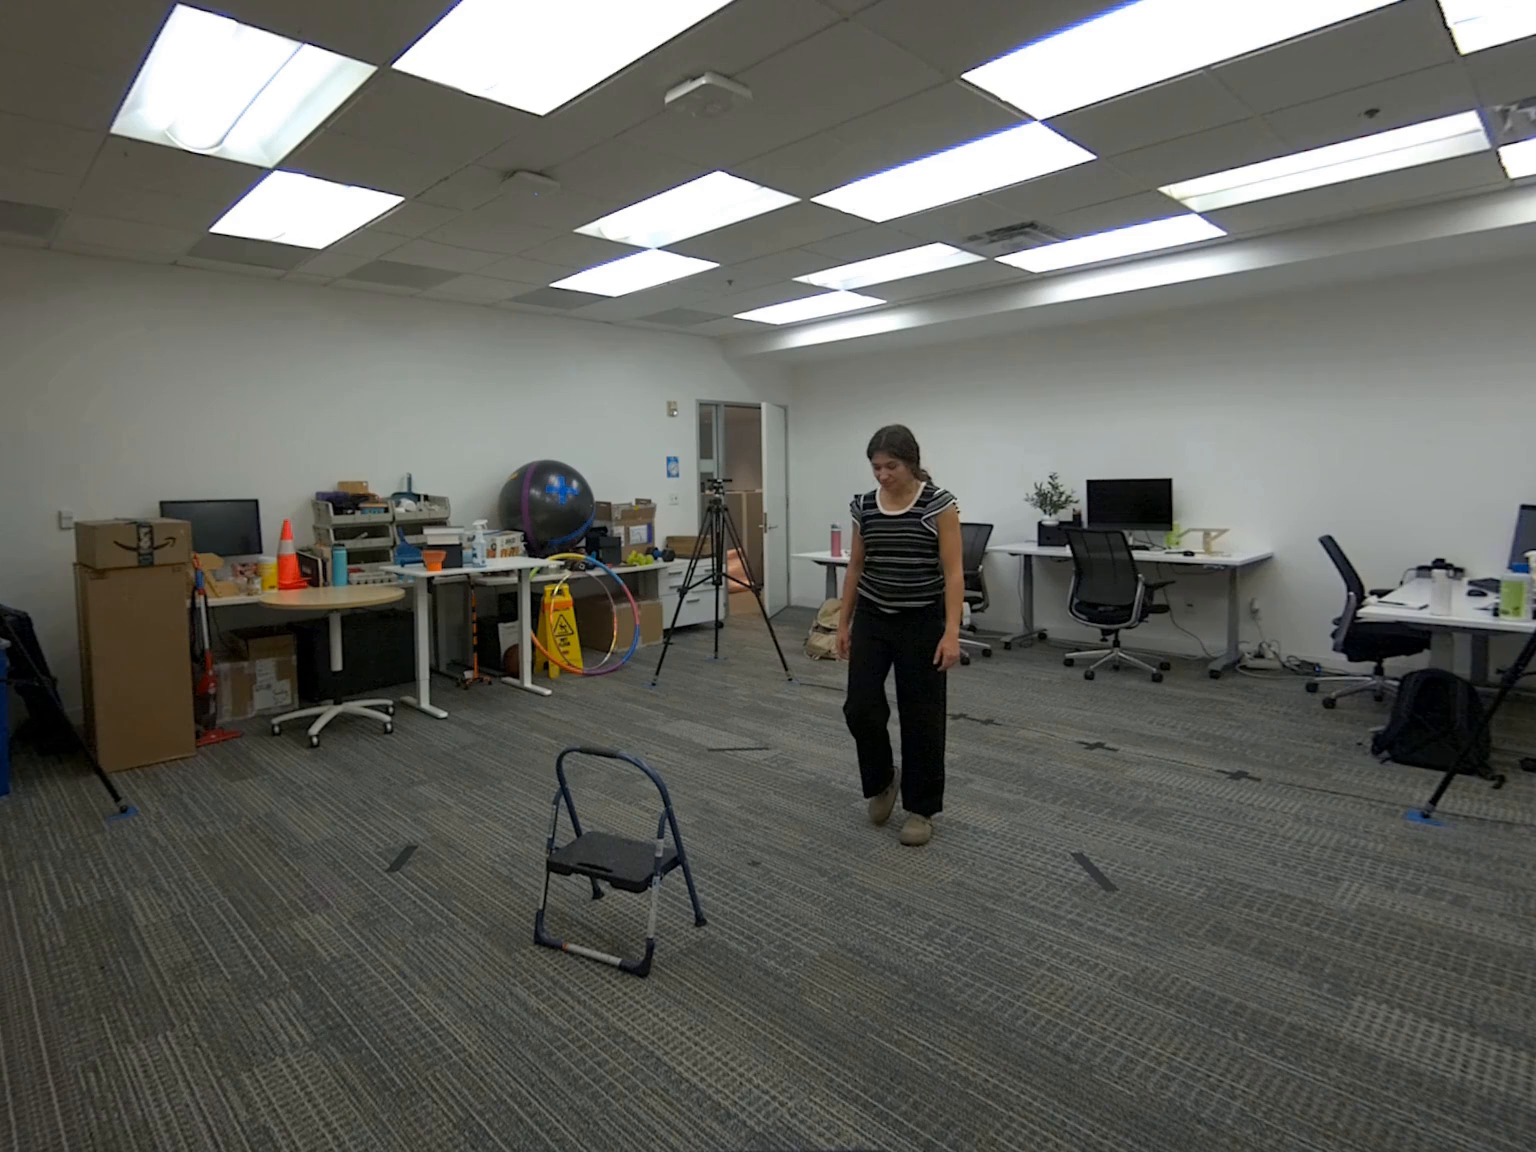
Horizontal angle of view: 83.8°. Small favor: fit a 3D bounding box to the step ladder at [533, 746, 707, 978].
[{"bbox_3d":[-0.461,0.807,2.631,0.441,0.604,0.342,1,4,26],"label":"step ladder"}]
